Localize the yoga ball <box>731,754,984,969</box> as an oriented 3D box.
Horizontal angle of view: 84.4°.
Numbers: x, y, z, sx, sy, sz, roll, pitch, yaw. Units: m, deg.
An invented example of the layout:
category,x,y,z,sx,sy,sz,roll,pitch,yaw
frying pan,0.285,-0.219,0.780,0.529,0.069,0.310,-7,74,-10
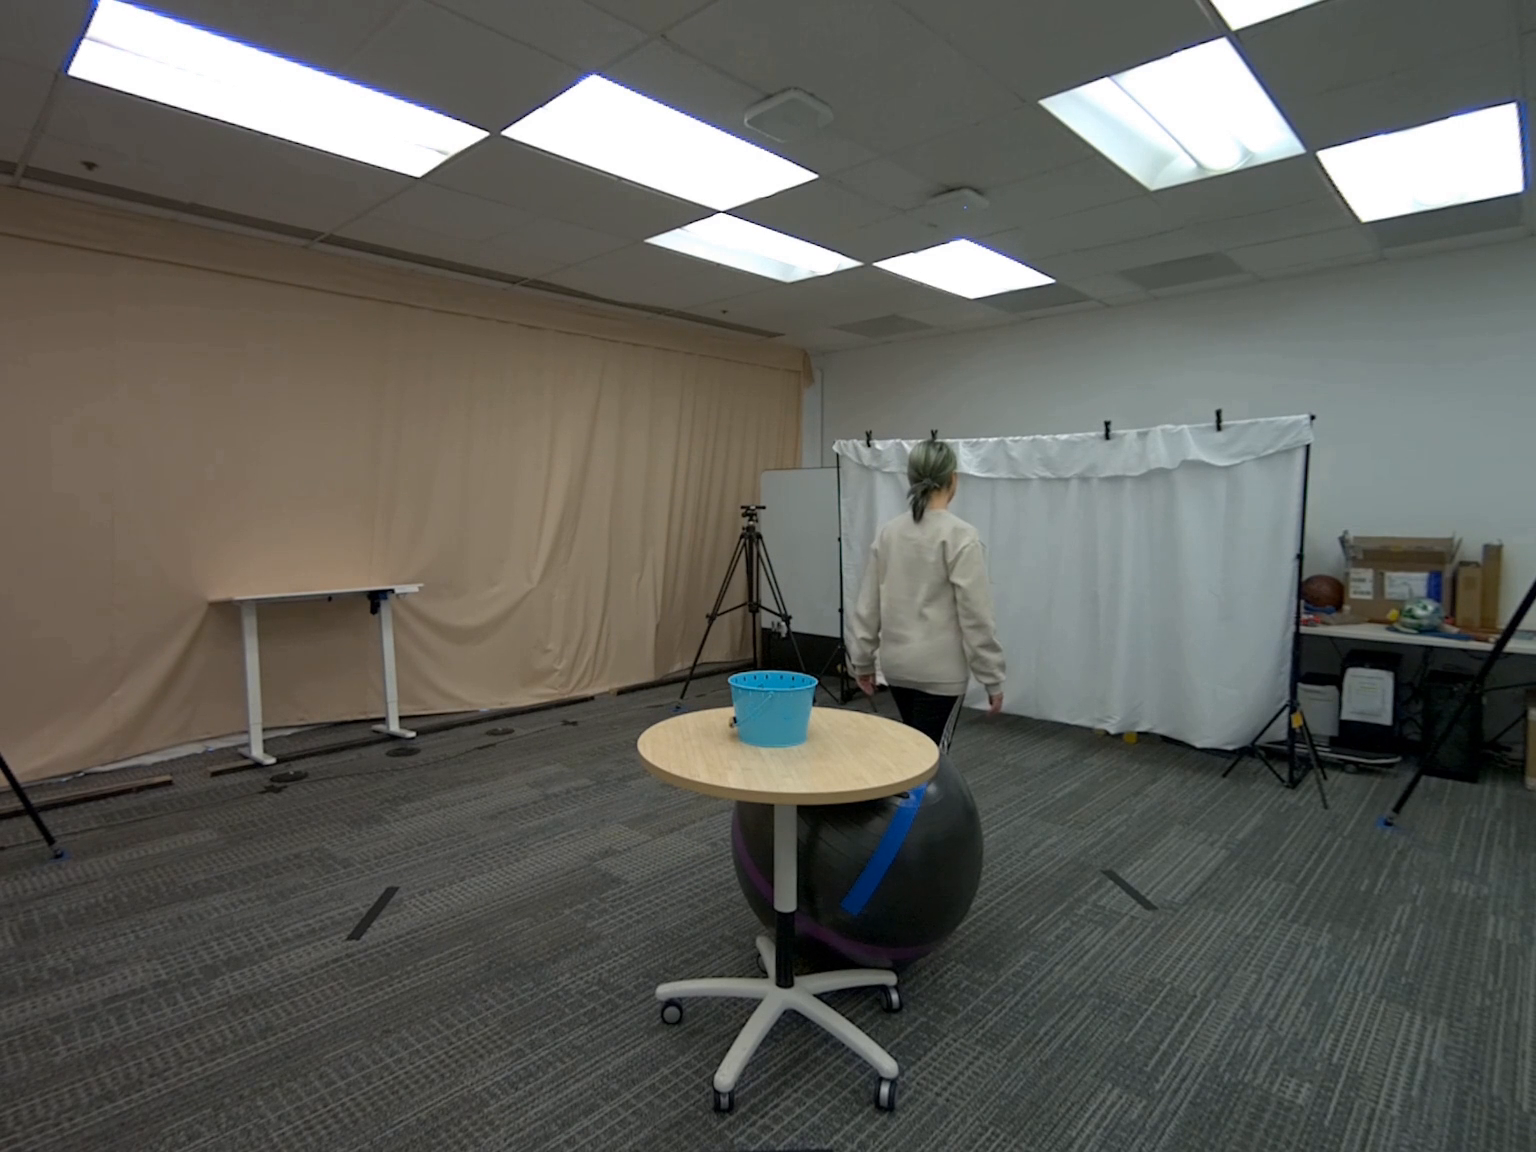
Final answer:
category,x,y,z,sx,sy,sz,roll,pitch,yaw
yoga ball,0.277,0.809,2.584,0.757,0.756,0.760,0,4,-2
